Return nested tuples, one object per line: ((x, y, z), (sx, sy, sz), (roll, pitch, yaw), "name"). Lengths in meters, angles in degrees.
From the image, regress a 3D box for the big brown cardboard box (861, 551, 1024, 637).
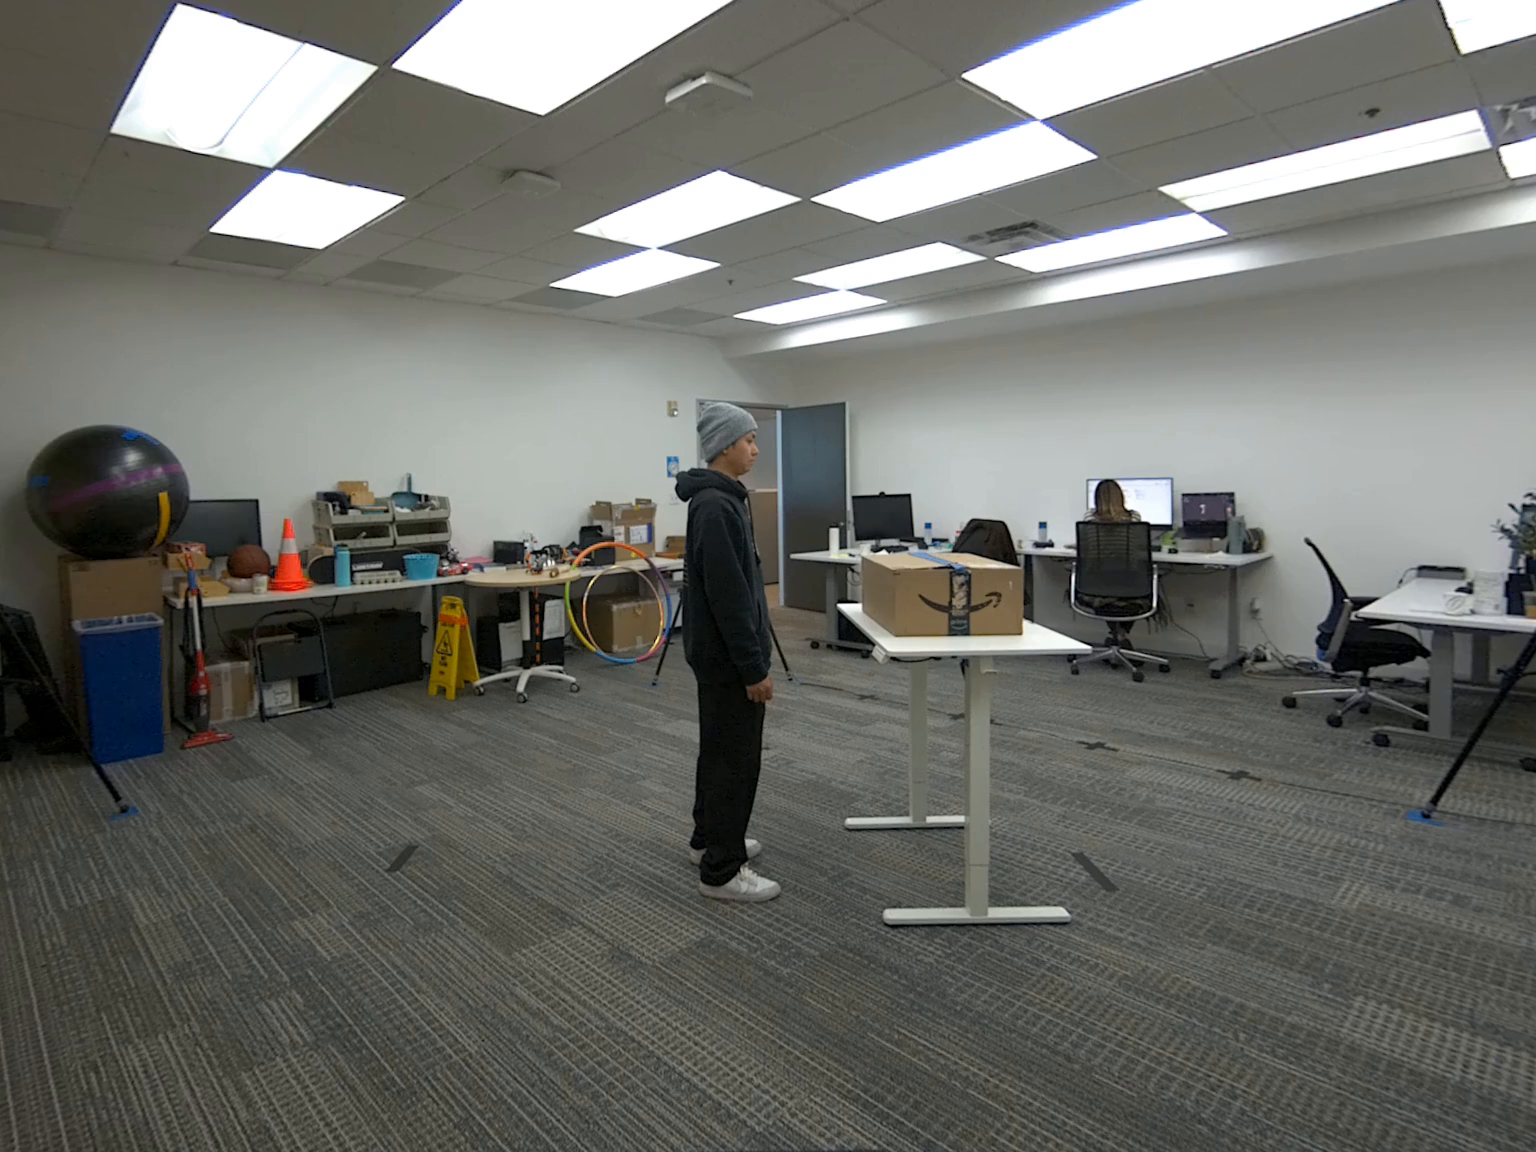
((0.583, 0.054, 2.988), (0.417, 0.232, 0.592), (-1, 5, -3), "big brown cardboard box")
